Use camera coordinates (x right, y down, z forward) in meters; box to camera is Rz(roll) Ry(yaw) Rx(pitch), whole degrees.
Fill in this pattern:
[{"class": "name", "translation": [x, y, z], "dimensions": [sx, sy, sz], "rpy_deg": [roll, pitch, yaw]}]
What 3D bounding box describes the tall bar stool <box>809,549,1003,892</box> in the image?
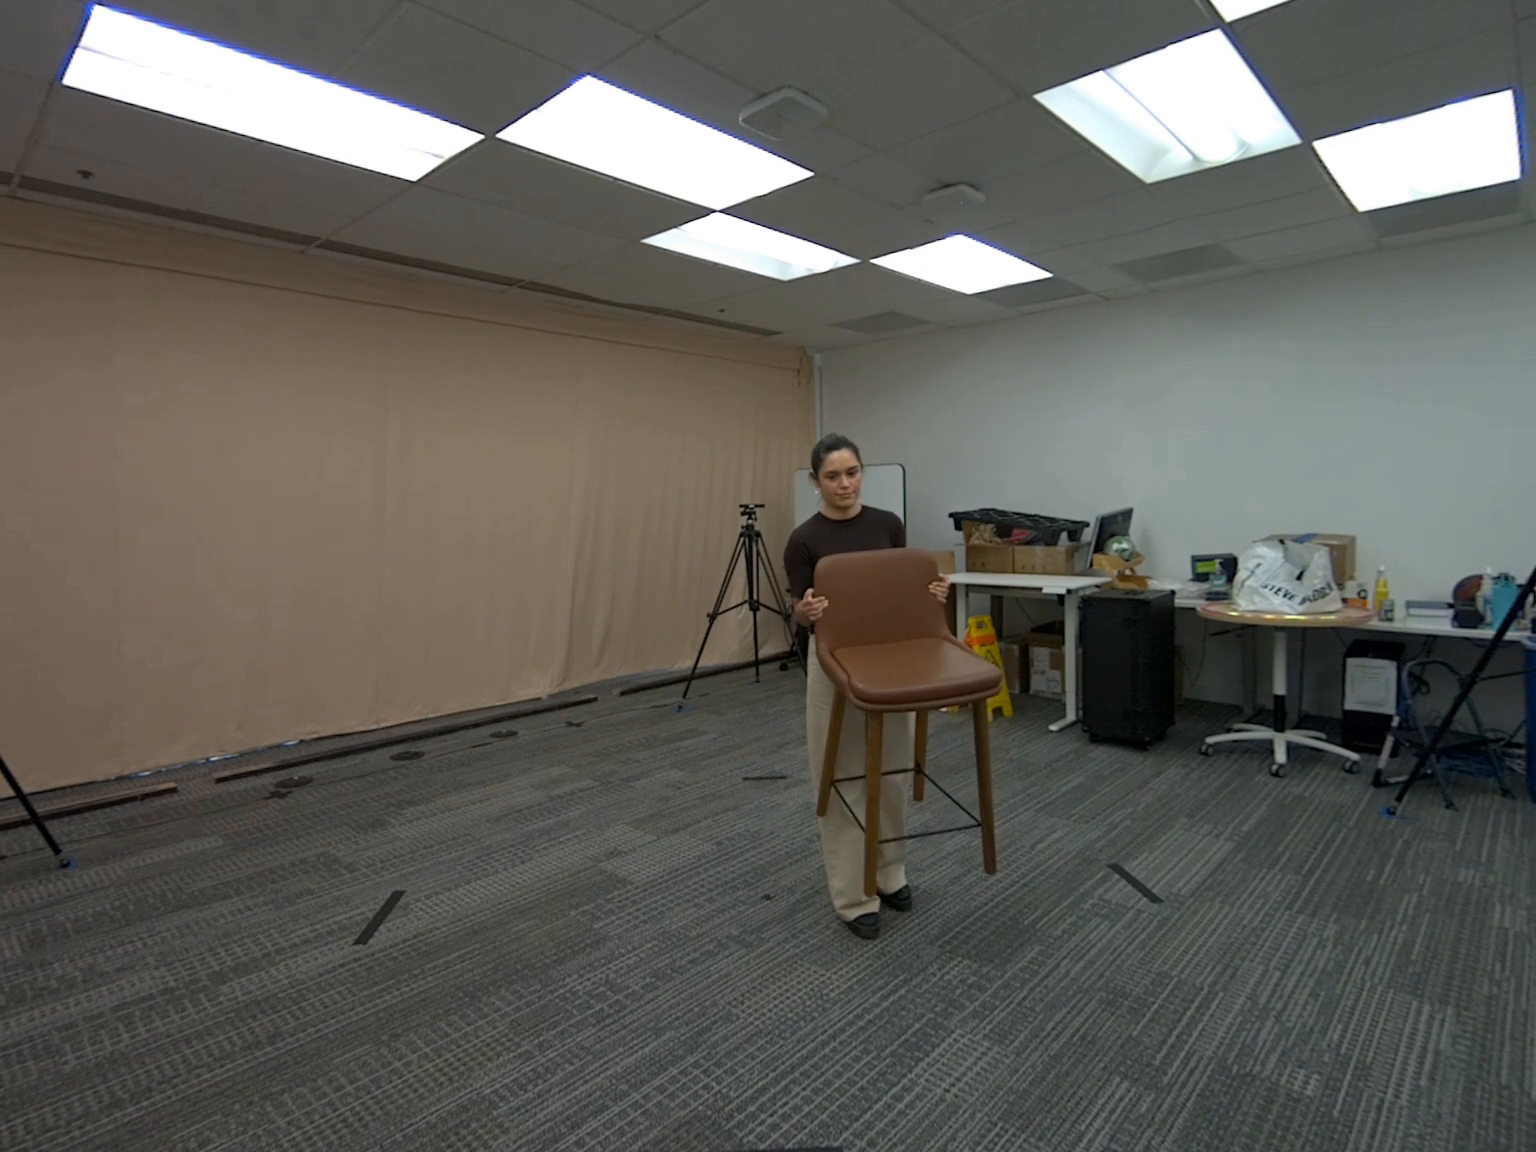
[{"class": "tall bar stool", "translation": [0.408, 0.406, 2.508], "dimensions": [0.449, 0.883, 0.479], "rpy_deg": [-5, 12, -17]}]
